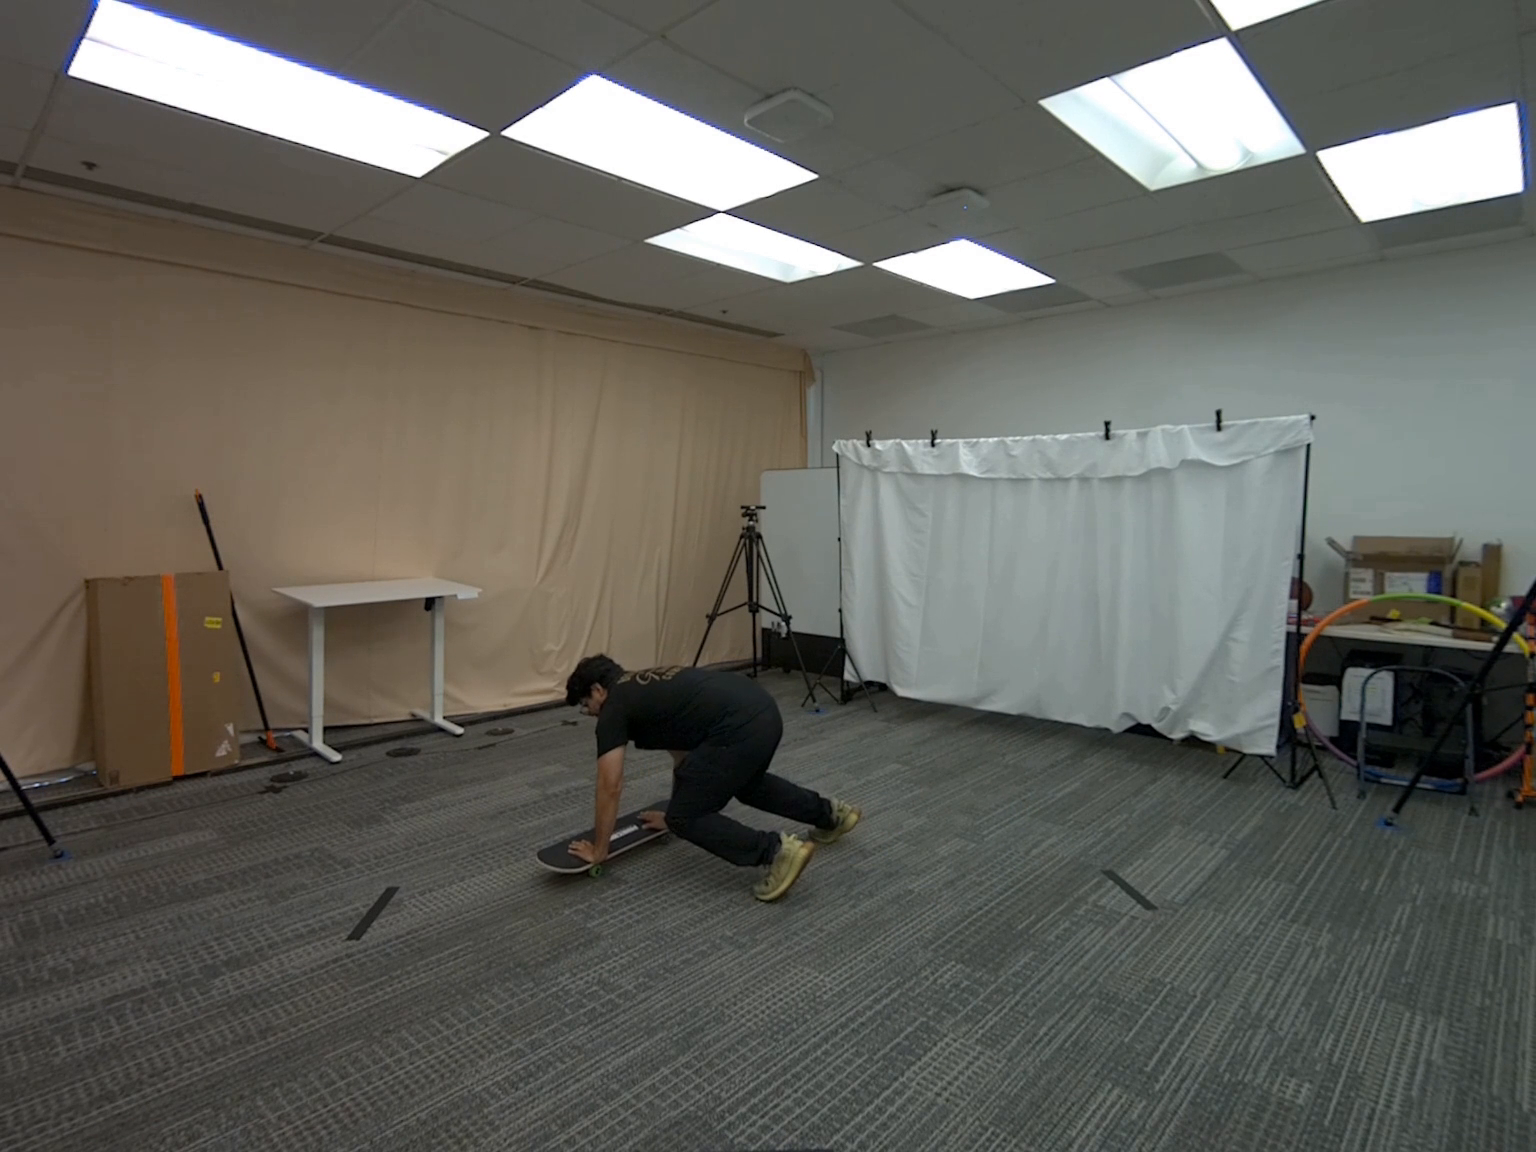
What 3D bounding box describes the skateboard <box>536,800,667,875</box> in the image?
[{"bbox_3d":[-0.604,1.064,3.368,0.200,0.110,0.763,12,11,35],"label":"skateboard"}]
